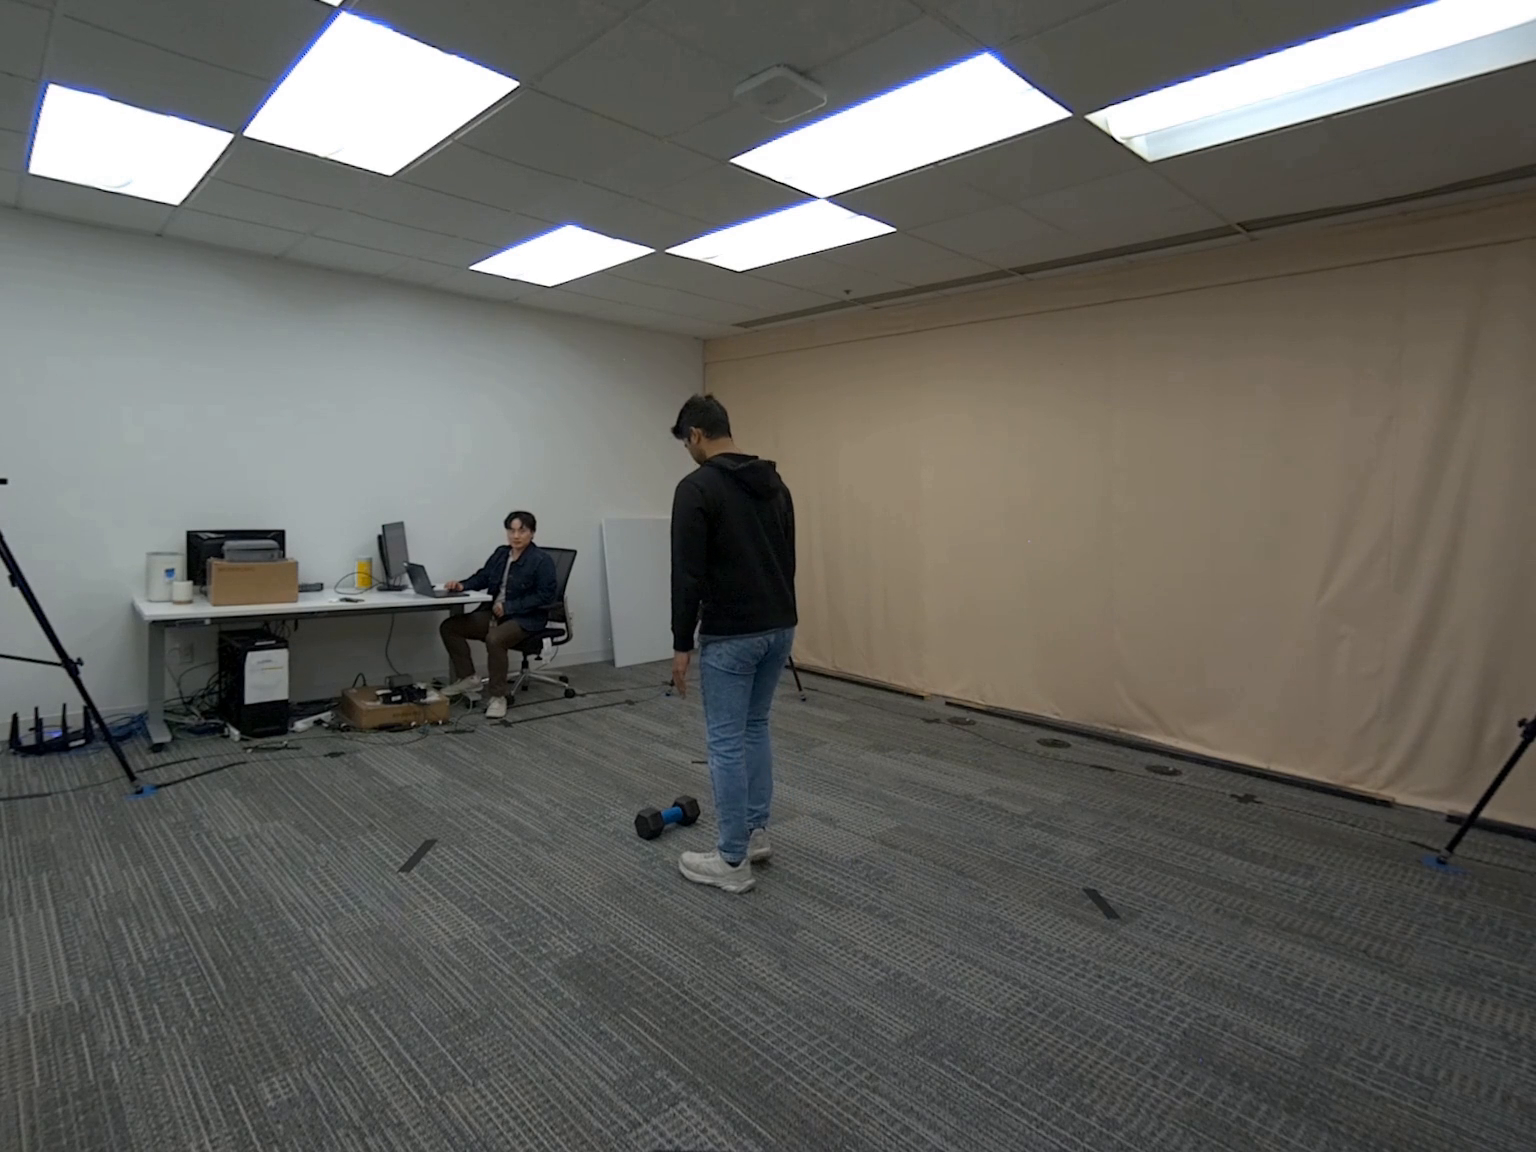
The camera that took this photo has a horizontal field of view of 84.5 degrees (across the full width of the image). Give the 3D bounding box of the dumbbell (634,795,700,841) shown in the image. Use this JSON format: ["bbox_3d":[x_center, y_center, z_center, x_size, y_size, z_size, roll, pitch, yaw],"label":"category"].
[{"bbox_3d":[-0.426,1.010,3.527,0.126,0.108,0.287,7,7,39],"label":"dumbbell"}]
